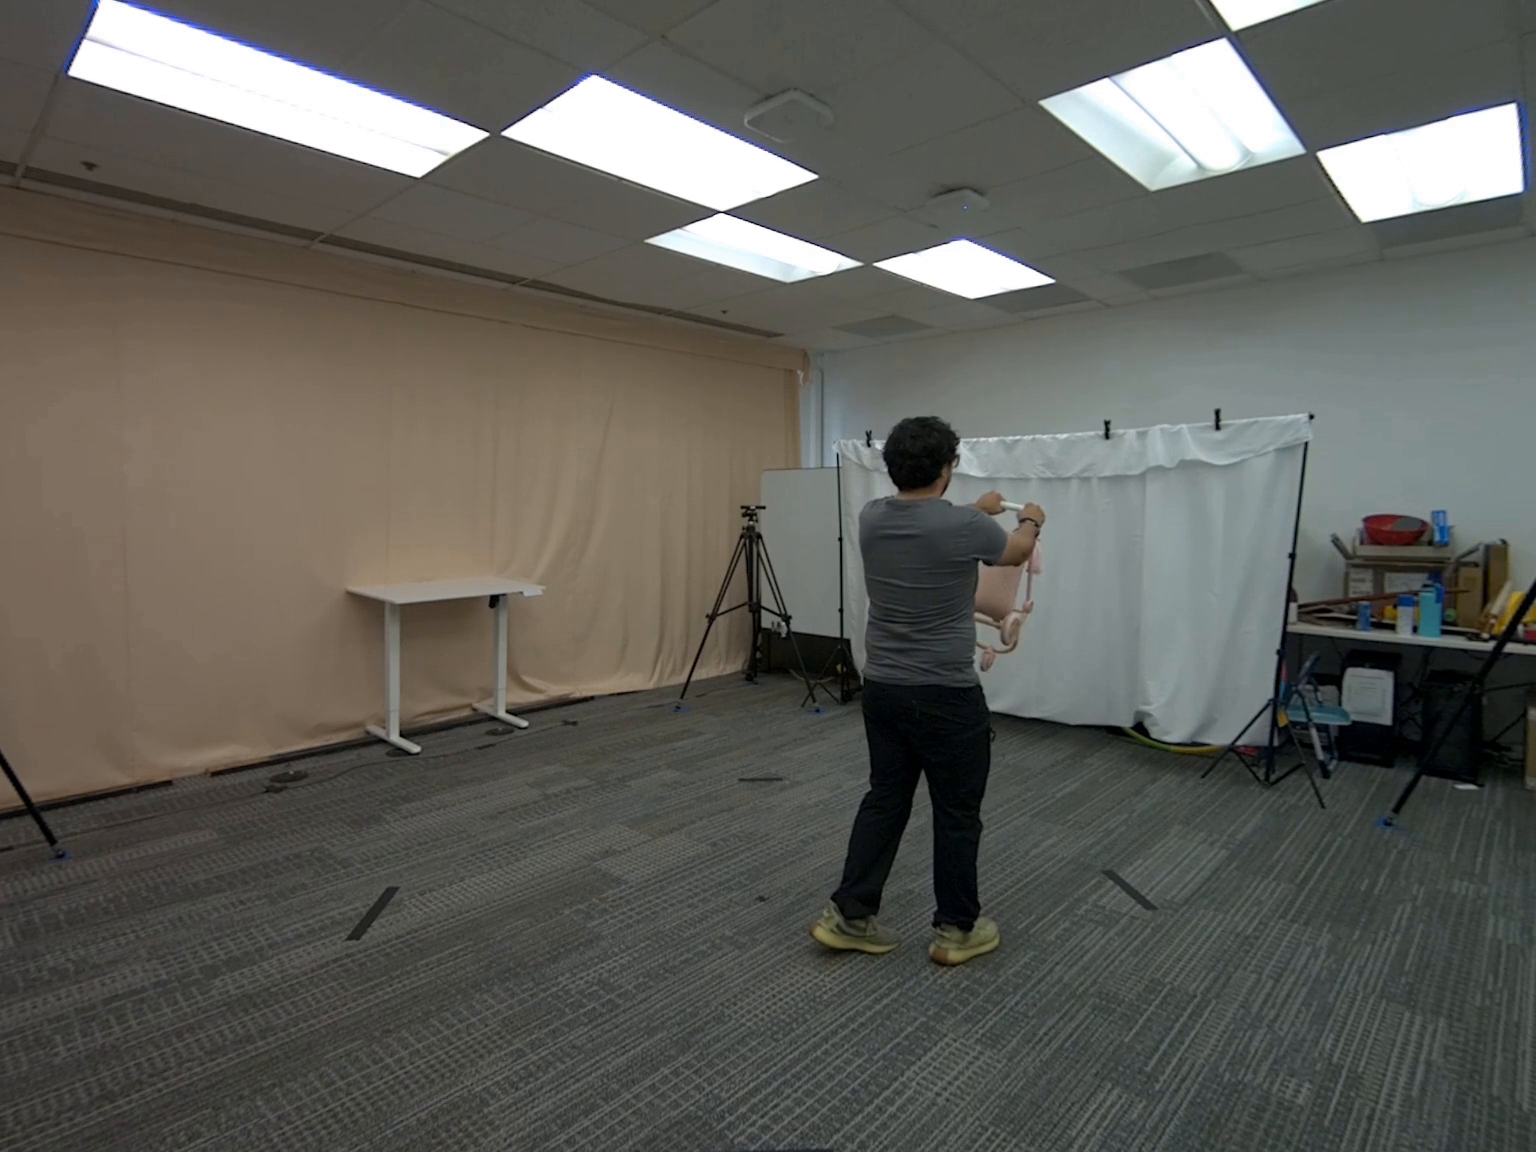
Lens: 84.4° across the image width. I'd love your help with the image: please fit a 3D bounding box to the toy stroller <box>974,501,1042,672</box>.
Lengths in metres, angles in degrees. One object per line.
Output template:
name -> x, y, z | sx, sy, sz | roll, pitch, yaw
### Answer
toy stroller -> 0.822, 0.056, 2.975 | 0.291, 0.536, 0.329 | 12, -16, 40
